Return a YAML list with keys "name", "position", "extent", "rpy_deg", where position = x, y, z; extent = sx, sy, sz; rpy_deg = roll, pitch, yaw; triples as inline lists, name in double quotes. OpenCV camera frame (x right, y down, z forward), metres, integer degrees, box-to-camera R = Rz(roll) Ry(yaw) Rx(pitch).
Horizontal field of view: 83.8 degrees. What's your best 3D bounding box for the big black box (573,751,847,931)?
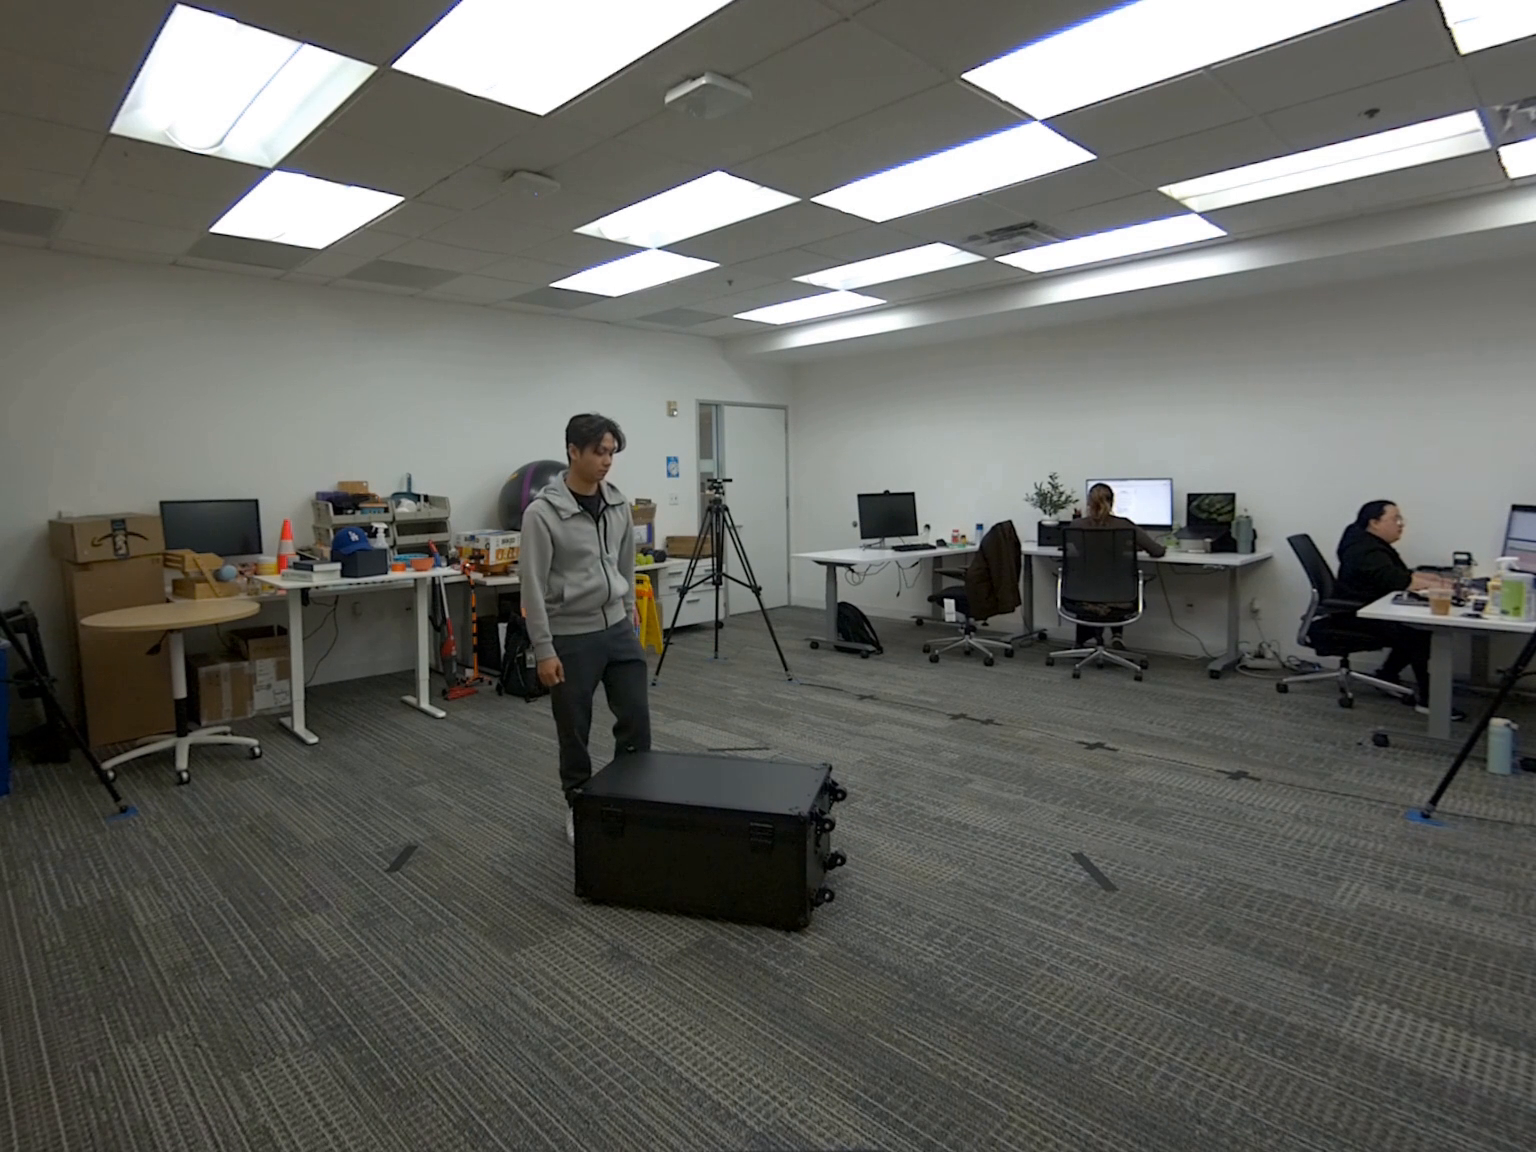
- name: "big black box"
  position: [-0.175, 0.875, 2.923]
  extent: [0.875, 0.395, 0.516]
  rpy_deg: [0, 6, 15]
